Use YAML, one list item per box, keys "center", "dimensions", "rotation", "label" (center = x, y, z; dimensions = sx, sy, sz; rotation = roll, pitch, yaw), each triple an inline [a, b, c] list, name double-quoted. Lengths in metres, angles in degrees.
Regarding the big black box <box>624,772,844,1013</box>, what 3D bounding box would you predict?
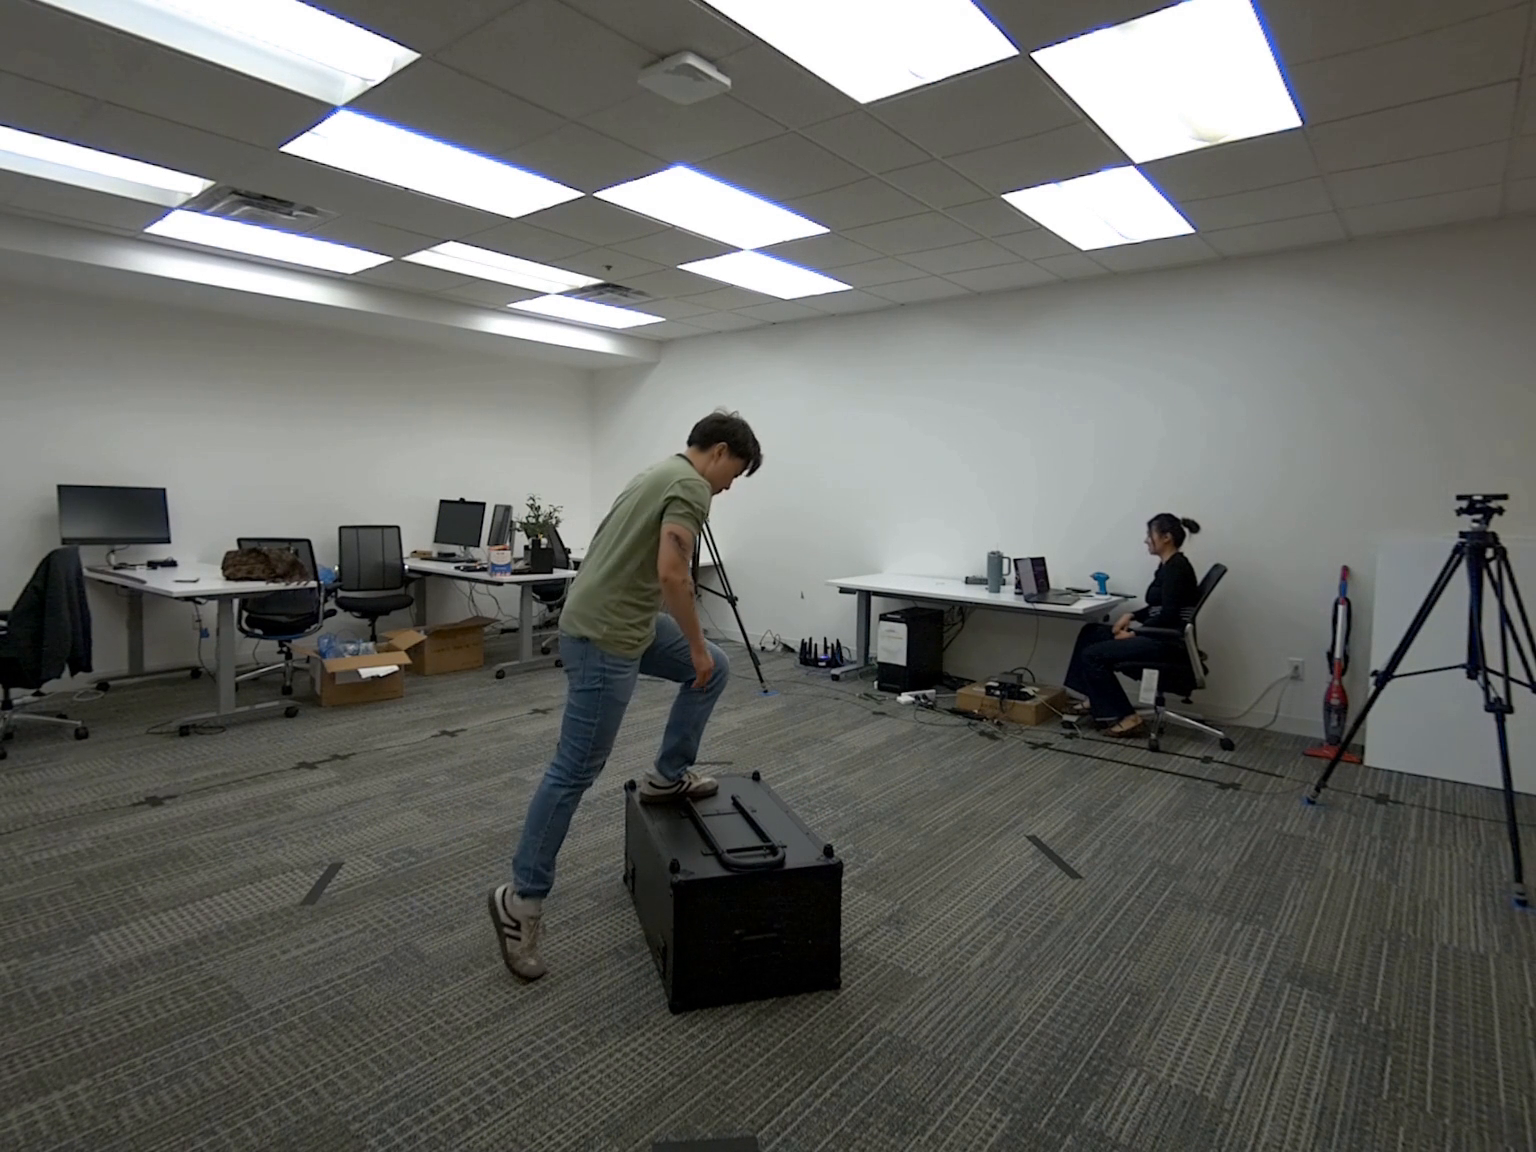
- center: [-0.171, 0.916, 2.697]
  dimensions: [0.512, 0.395, 0.879]
  rotation: [-1, 4, -18]
  label: "big black box"
